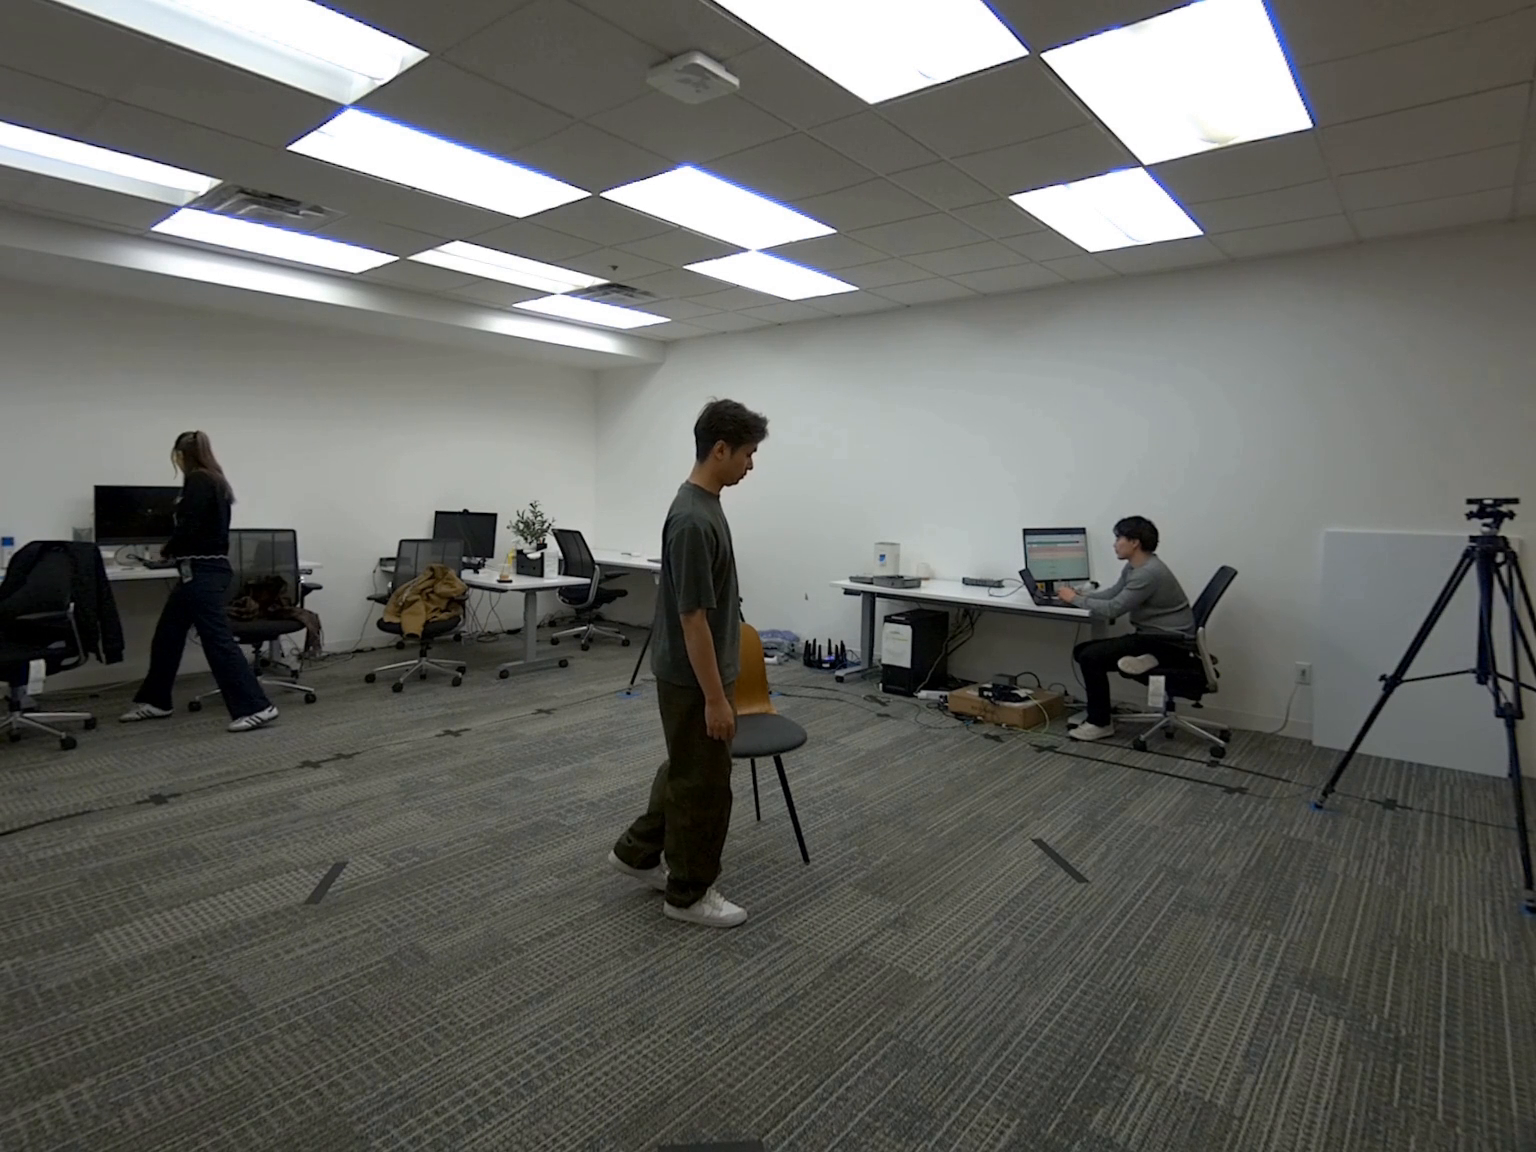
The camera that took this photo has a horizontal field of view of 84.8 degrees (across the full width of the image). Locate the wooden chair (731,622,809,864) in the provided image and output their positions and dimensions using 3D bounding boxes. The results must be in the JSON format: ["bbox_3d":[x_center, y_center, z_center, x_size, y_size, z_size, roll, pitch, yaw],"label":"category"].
[{"bbox_3d":[-0.138,0.622,3.266,0.467,0.878,0.534,0,-1,-23],"label":"wooden chair"}]
